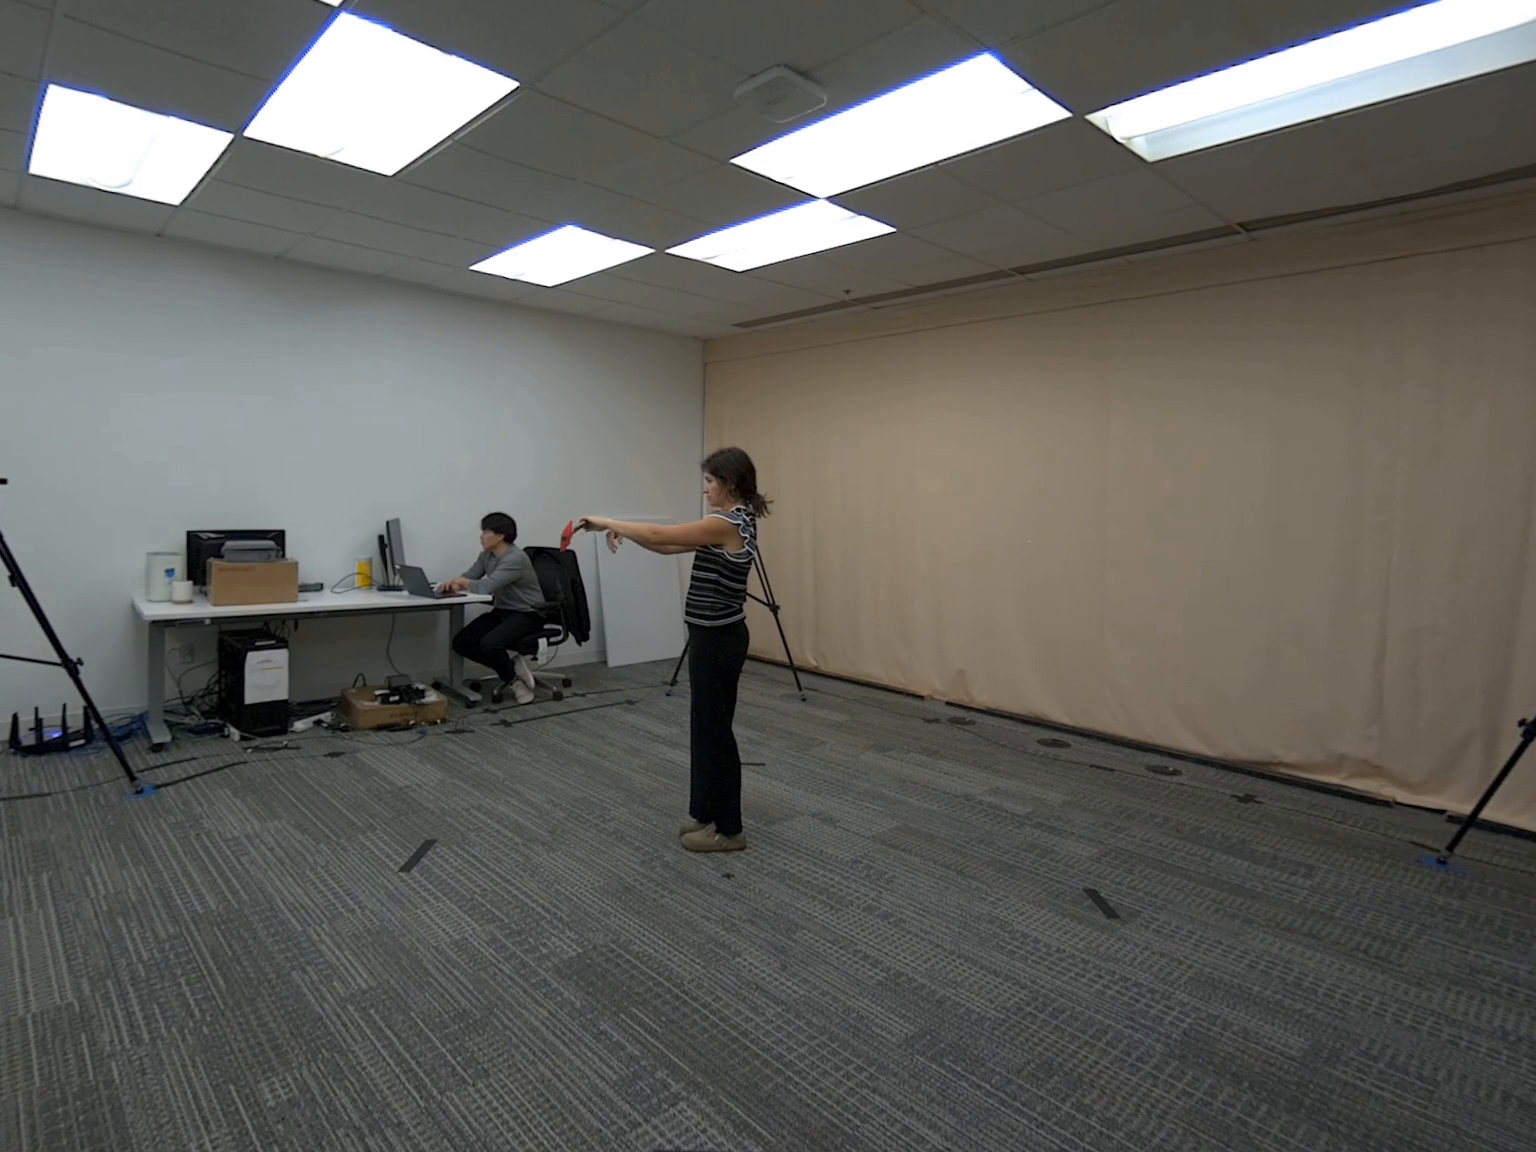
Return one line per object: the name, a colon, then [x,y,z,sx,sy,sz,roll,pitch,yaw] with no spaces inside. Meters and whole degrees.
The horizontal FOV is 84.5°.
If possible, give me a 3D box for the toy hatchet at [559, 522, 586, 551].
toy hatchet: [-0.747,-0.154,3.275,0.030,0.130,0.269,8,6,6]
